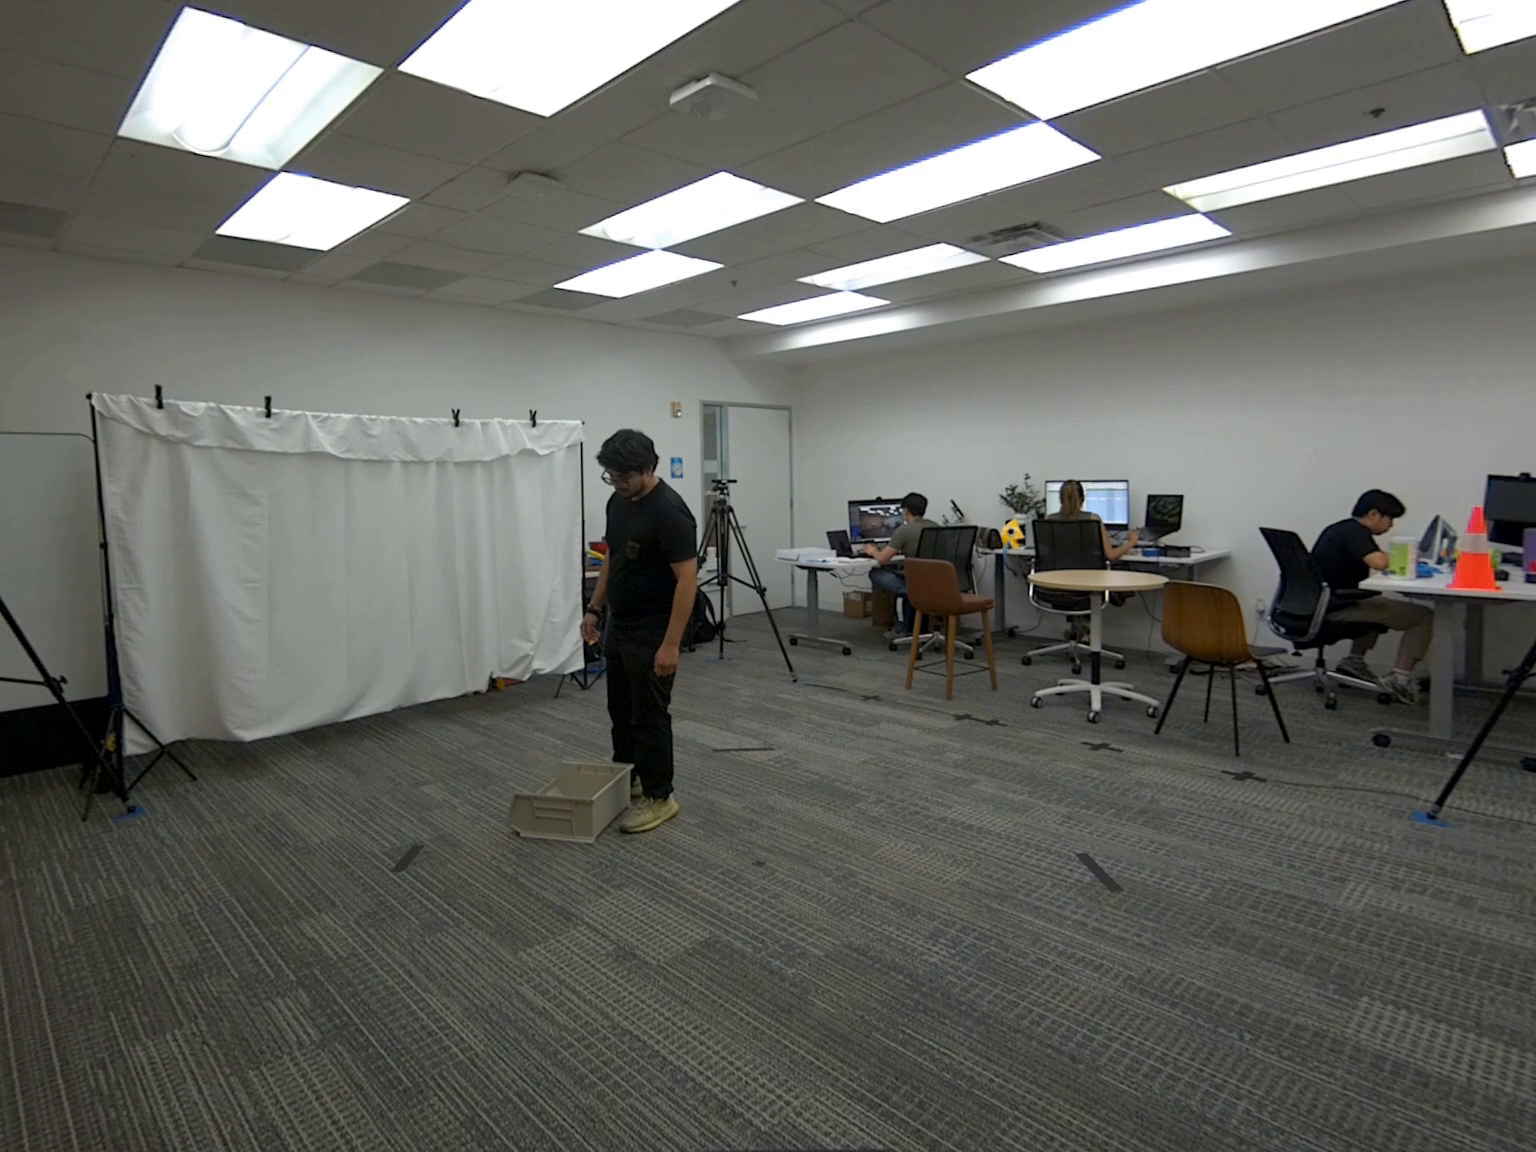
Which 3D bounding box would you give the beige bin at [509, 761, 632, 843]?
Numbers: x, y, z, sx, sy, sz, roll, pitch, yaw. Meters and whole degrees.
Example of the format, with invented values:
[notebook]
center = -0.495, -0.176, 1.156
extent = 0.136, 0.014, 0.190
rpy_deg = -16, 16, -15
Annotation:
[beige bin]
center = -0.811, 0.930, 3.542
extent = 0.383, 0.188, 0.418
rpy_deg = 1, 6, 14
